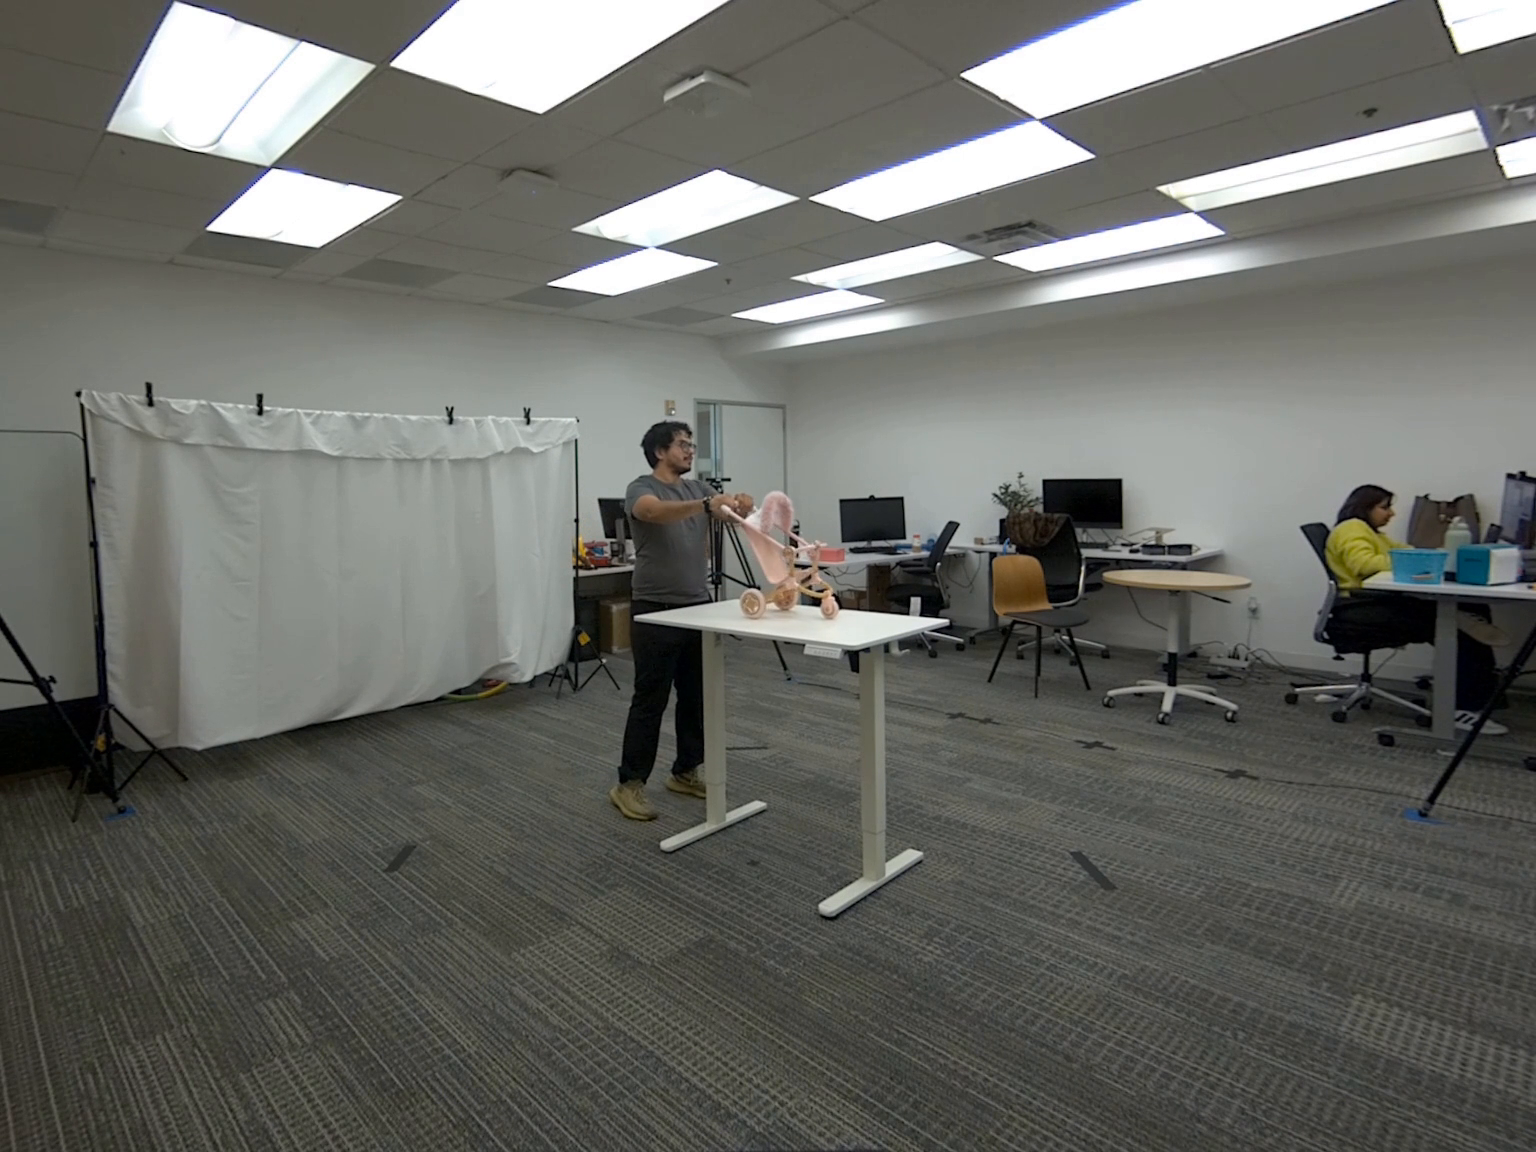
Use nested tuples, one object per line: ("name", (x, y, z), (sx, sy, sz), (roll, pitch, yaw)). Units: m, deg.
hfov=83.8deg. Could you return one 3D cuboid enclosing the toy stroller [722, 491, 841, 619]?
("toy stroller", (0.050, -0.076, 3.189), (0.347, 0.538, 0.274), (-18, -6, 36))
